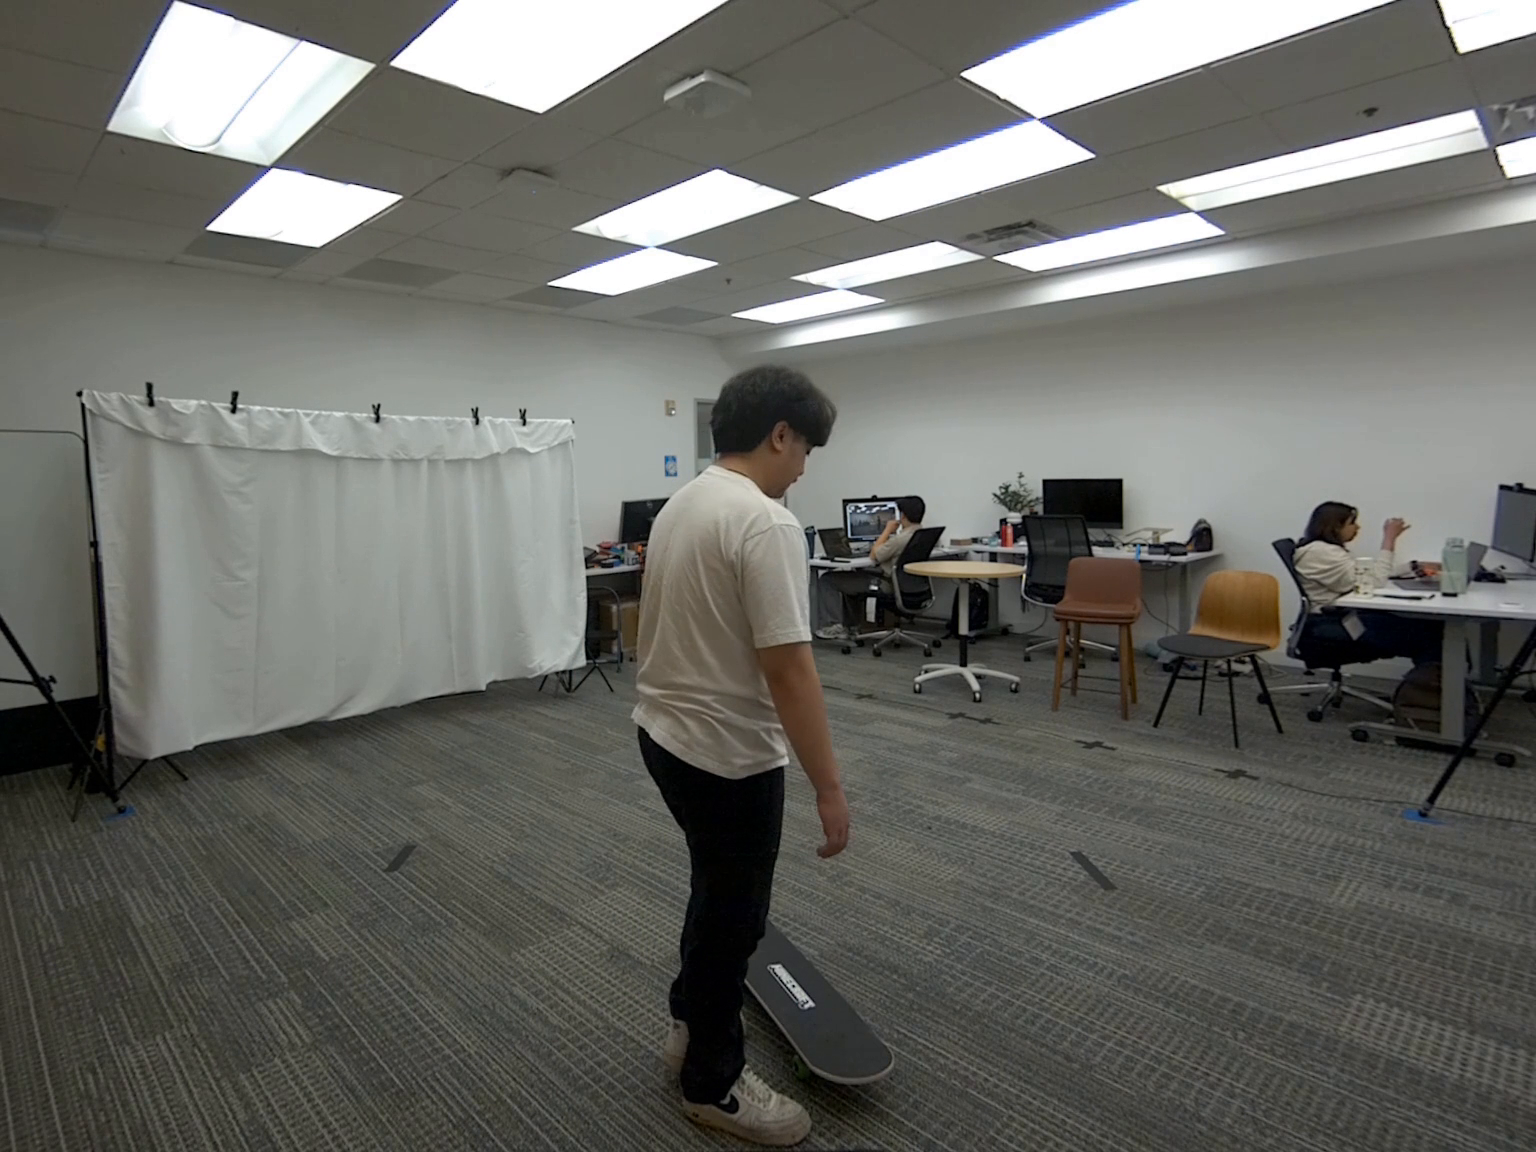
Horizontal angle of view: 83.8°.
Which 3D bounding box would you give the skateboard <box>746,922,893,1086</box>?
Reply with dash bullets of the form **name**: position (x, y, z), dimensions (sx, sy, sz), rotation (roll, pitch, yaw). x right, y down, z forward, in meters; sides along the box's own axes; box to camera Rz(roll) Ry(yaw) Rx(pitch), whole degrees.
- **skateboard**: position (0.068, 1.090, 2.211), dimensions (0.189, 0.110, 0.805), rotation (-4, 7, -25)
